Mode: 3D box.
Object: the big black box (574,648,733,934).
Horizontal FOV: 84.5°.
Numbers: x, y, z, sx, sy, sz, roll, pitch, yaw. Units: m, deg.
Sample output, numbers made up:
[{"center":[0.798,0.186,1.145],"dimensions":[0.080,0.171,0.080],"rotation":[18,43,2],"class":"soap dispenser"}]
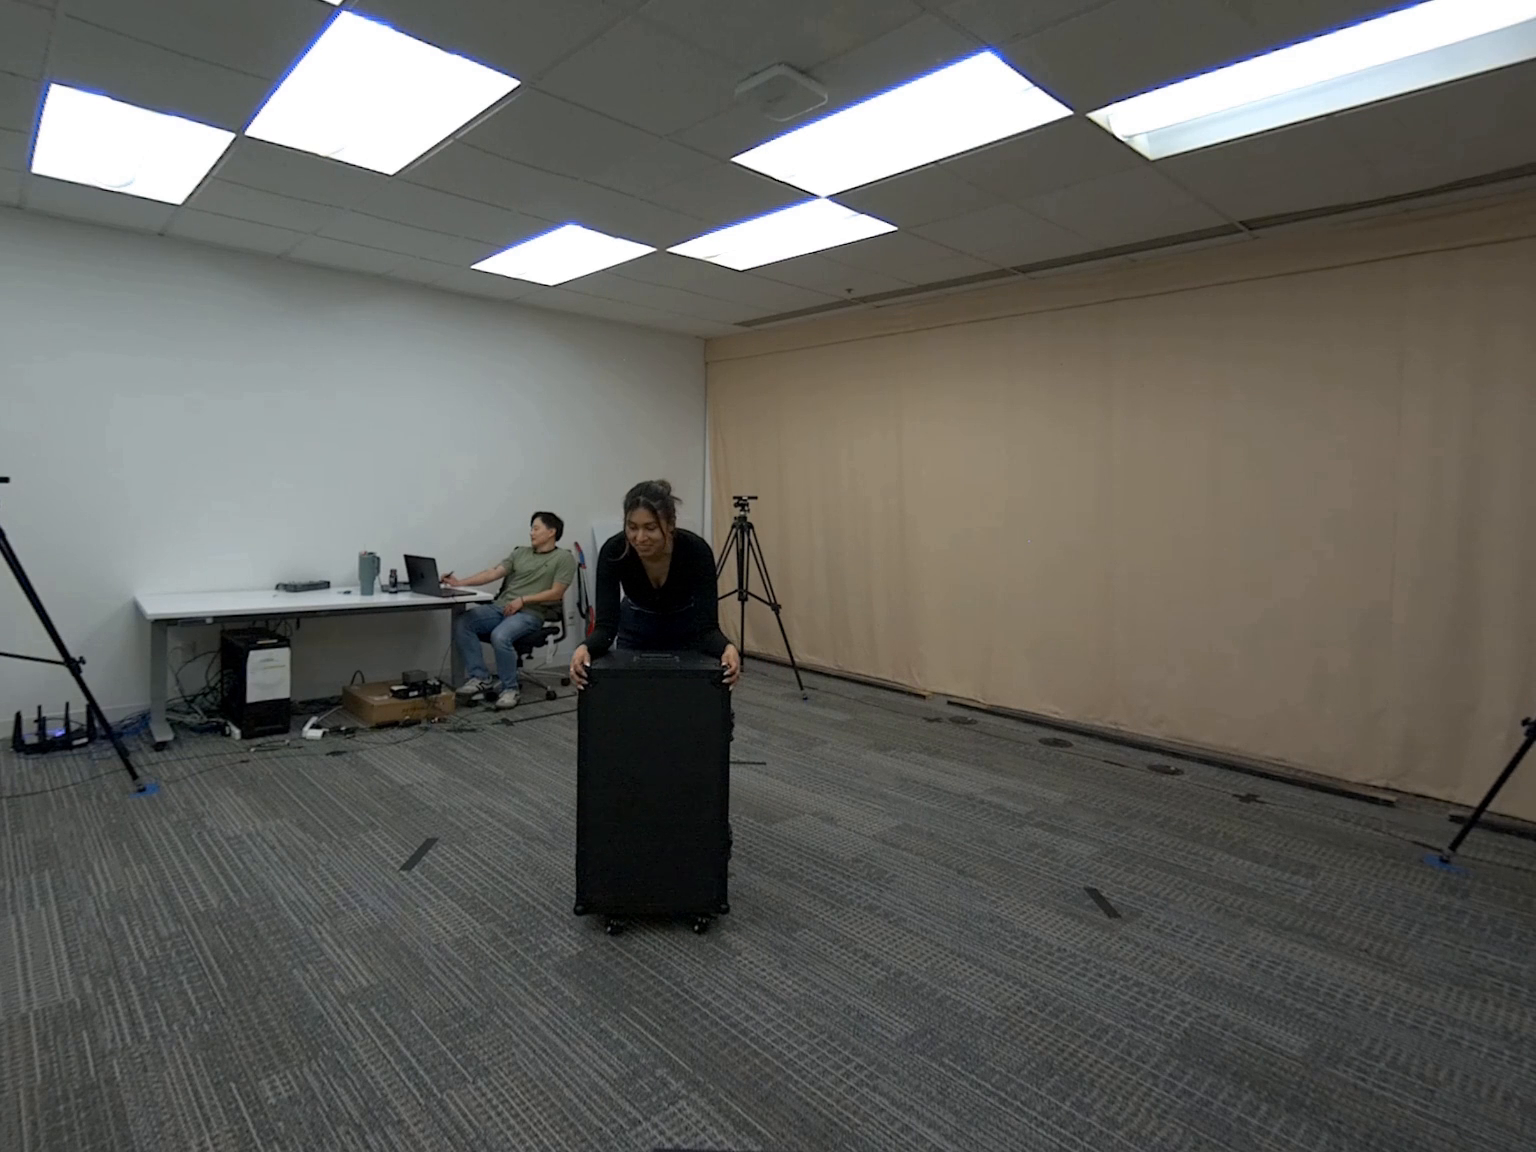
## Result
[{"center":[-0.386,0.706,2.818],"dimensions":[0.519,0.860,0.398],"rotation":[0,2,-4],"class":"big black box"}]
